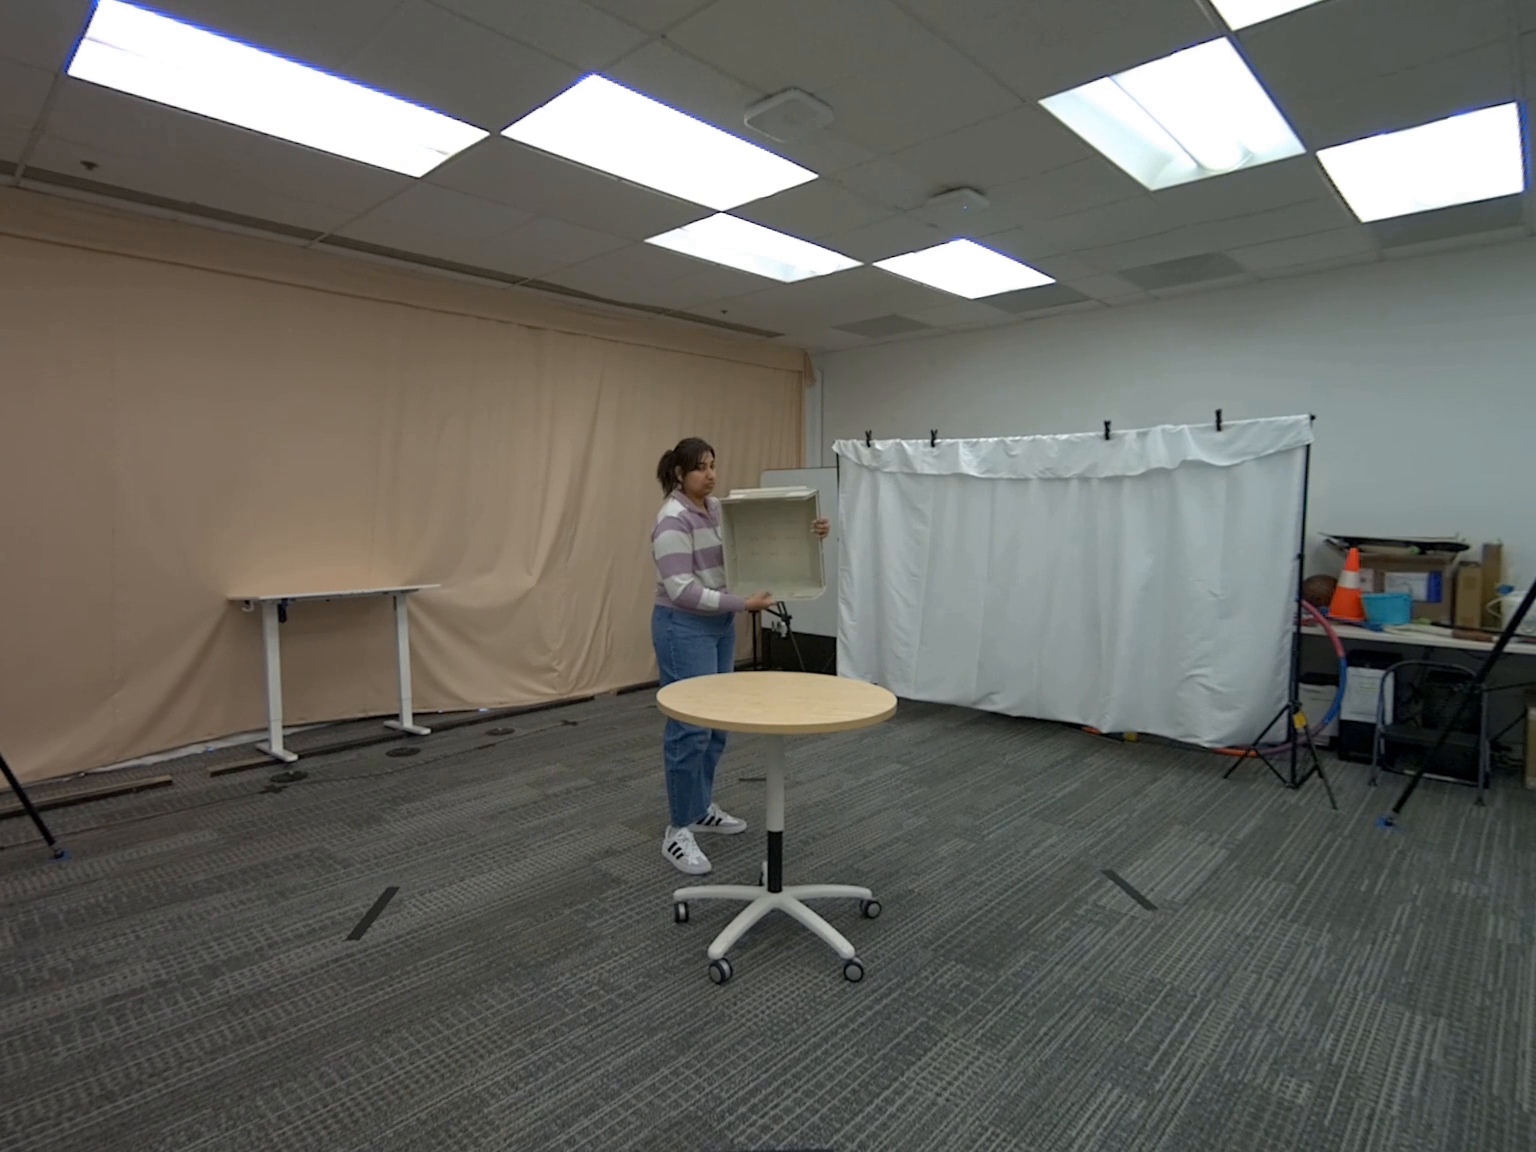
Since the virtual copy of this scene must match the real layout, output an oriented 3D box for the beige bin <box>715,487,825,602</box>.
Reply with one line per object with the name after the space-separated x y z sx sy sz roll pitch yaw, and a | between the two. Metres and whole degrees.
0.027 -0.130 3.339 0.384 0.418 0.188 -2 15 16 | beige bin
